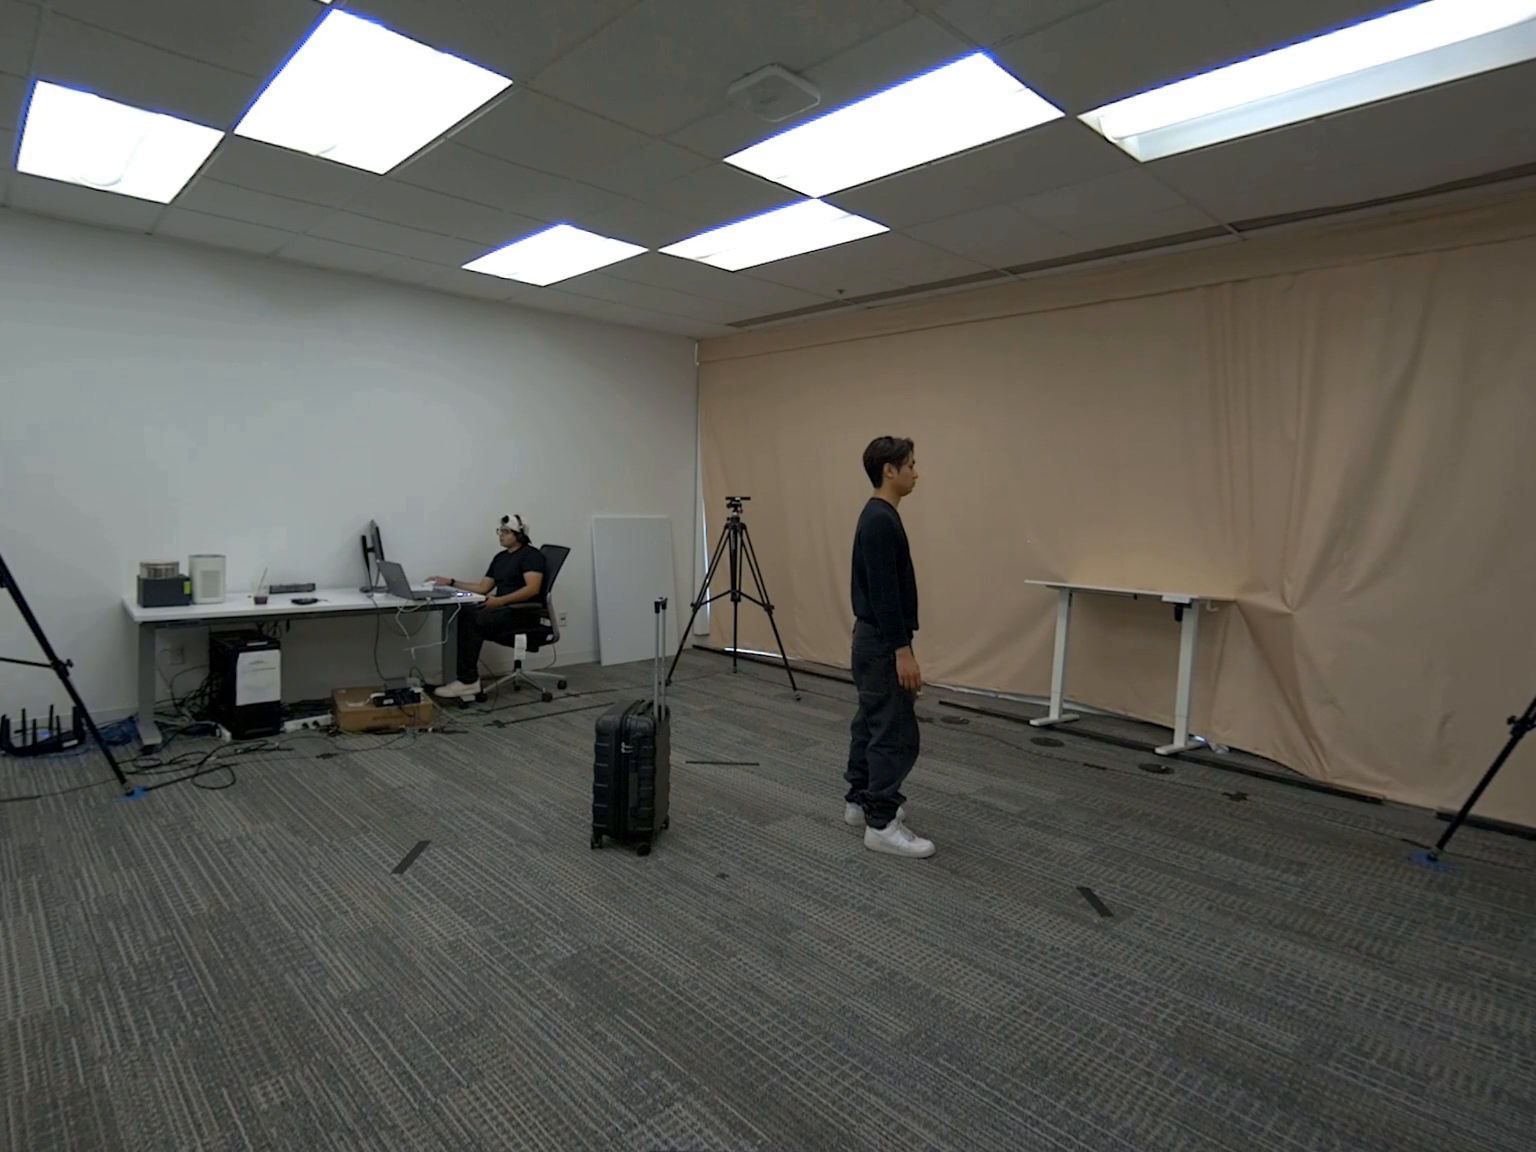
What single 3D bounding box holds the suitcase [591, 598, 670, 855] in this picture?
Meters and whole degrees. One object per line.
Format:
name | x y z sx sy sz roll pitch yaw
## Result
suitcase | -0.559 0.590 3.416 0.258 0.977 0.383 1 3 5
